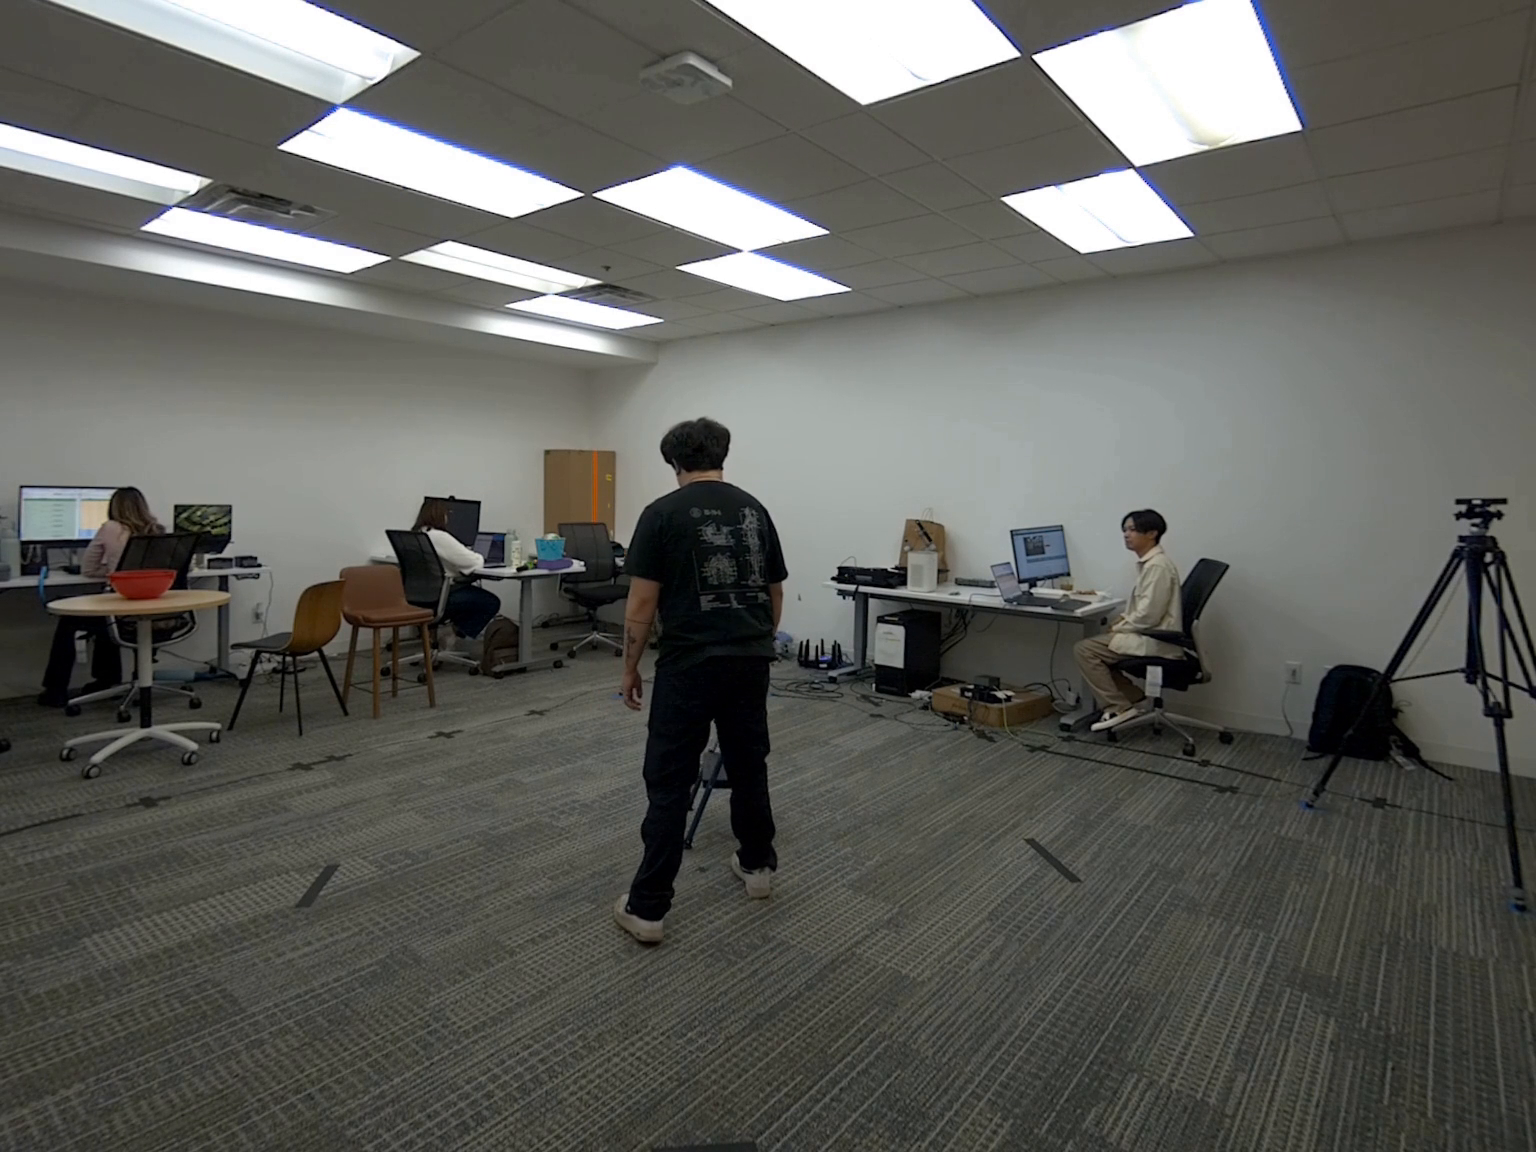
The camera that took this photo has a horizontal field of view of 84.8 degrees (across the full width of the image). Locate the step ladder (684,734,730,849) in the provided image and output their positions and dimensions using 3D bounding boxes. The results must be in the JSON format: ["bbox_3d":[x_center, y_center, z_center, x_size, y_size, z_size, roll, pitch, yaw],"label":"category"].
[{"bbox_3d":[-0.185,0.732,3.482,0.348,0.604,0.433,0,3,-3],"label":"step ladder"}]
